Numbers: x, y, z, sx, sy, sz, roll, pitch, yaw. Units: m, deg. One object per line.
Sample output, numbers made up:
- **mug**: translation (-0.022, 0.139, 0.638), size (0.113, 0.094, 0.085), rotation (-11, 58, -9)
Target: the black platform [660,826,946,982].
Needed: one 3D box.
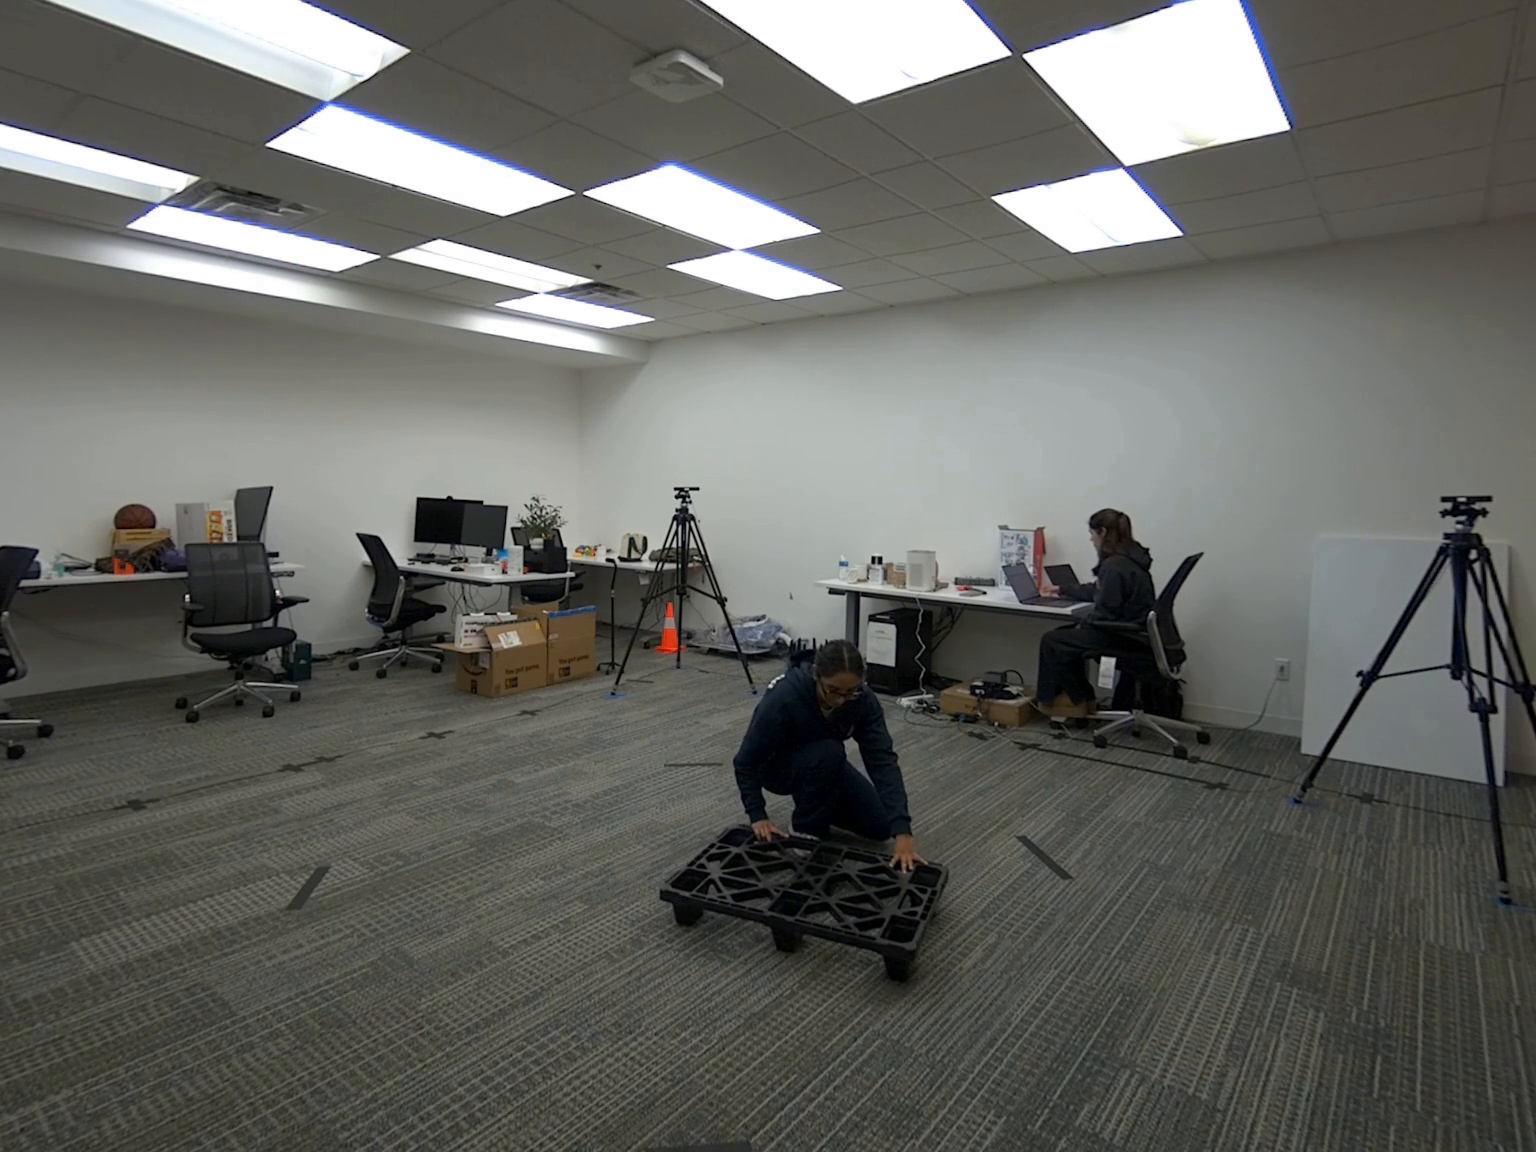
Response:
- **black platform**: translation (0.120, 1.037, 2.772), size (0.825, 0.143, 0.593), rotation (4, 6, 23)
